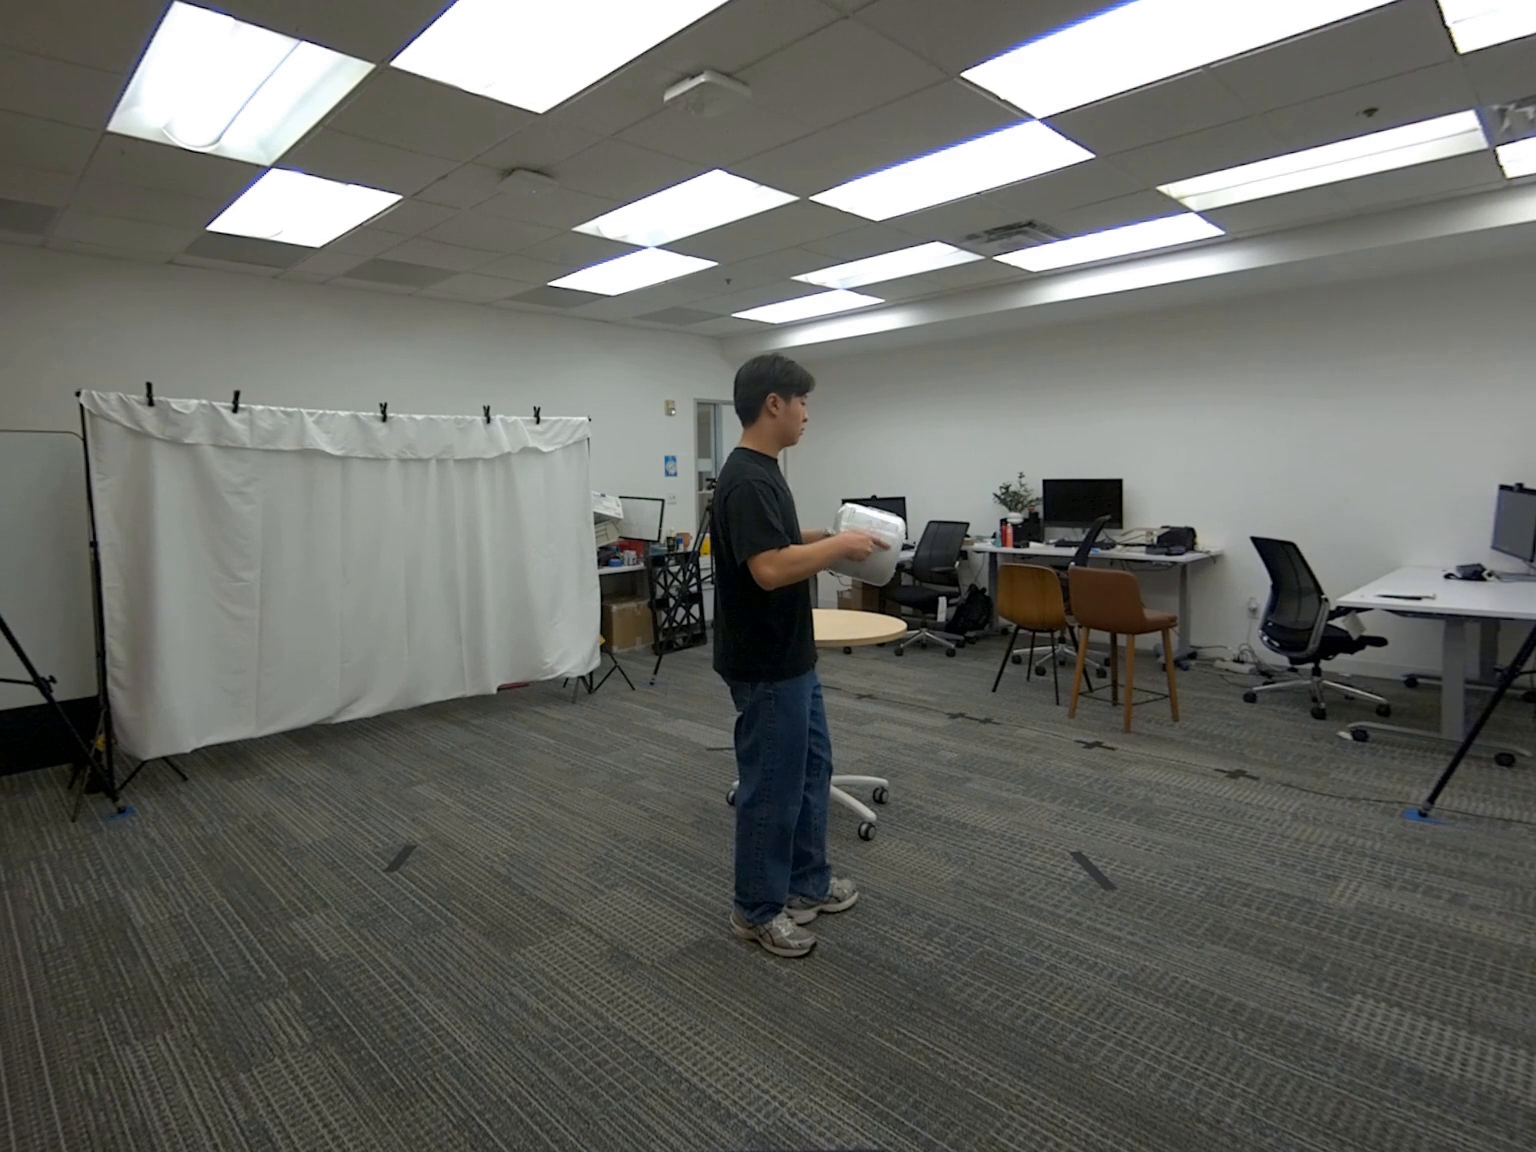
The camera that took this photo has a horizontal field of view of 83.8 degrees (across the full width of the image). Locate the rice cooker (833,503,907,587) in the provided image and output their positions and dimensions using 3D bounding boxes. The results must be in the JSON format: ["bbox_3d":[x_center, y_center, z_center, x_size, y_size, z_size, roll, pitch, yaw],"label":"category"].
[{"bbox_3d":[0.277,-0.102,2.541,0.234,0.217,0.219,16,1,4],"label":"rice cooker"}]
